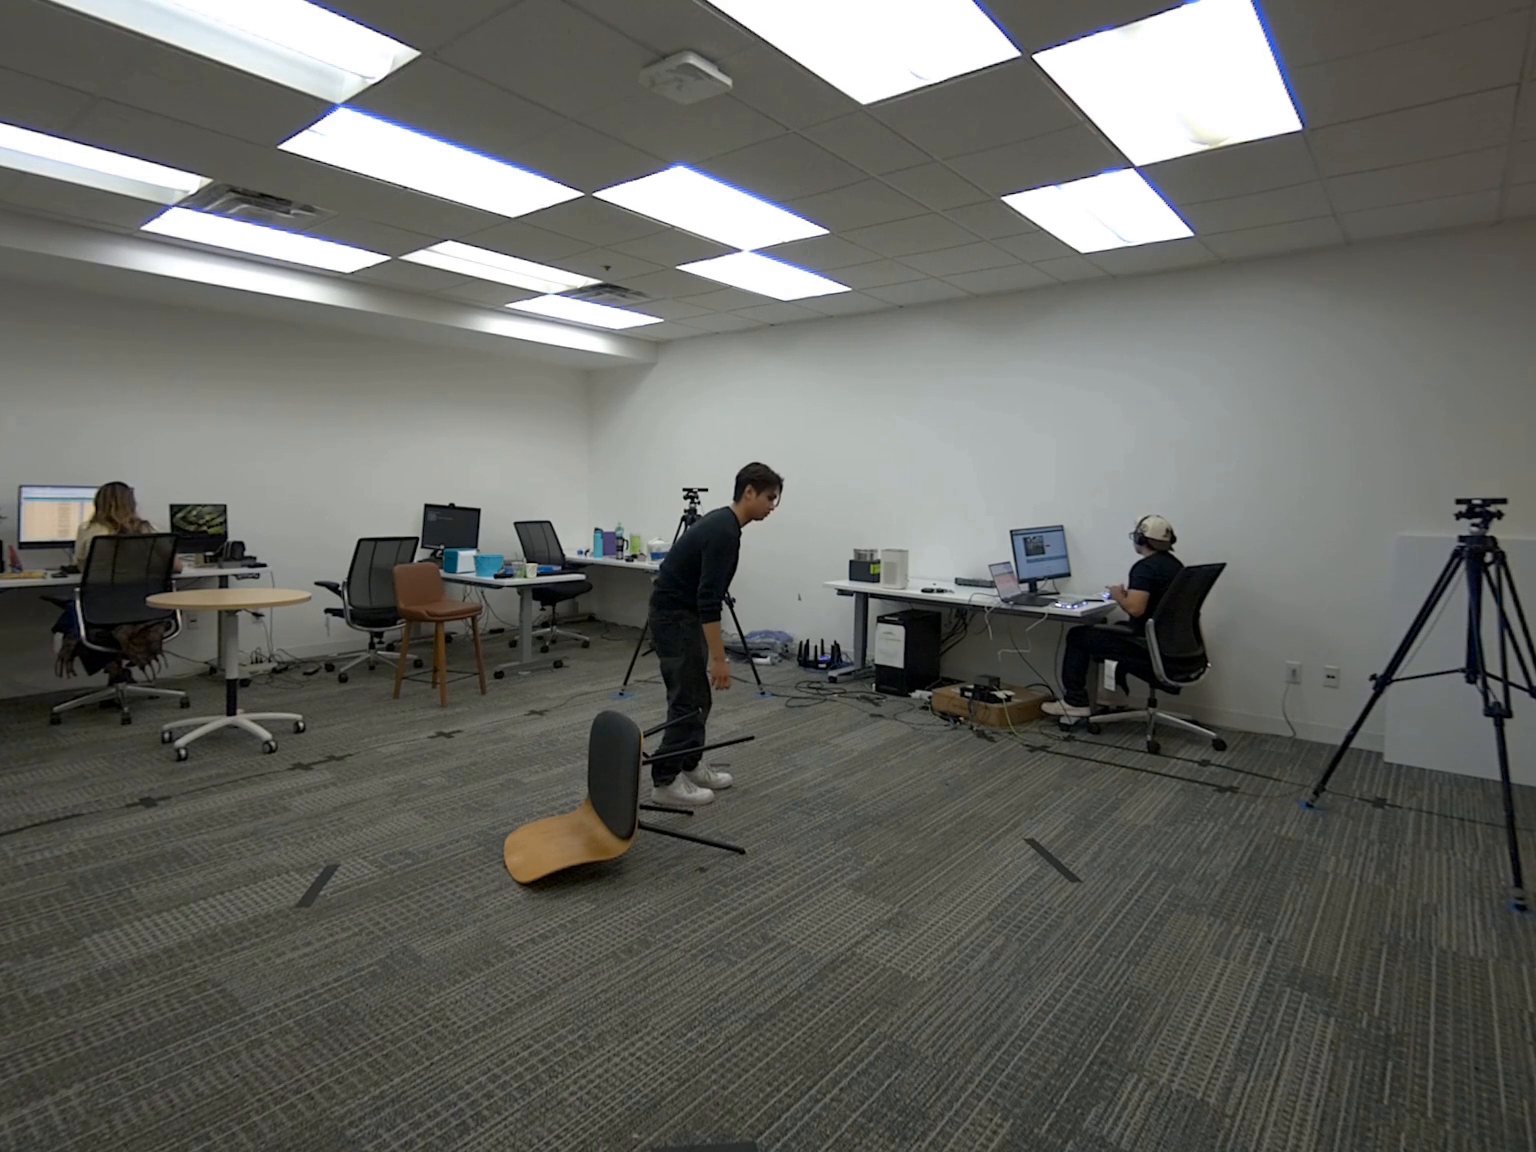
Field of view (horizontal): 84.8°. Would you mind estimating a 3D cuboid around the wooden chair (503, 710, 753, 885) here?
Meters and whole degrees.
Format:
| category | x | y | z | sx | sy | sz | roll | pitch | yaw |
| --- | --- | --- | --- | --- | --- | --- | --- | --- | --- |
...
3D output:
| category | x | y | z | sx | sy | sz | roll | pitch | yaw |
| --- | --- | --- | --- | --- | --- | --- | --- | --- | --- |
| wooden chair | -0.560 | 0.794 | 3.231 | 0.854 | 0.521 | 0.493 | -3 | 5 | -31 |
